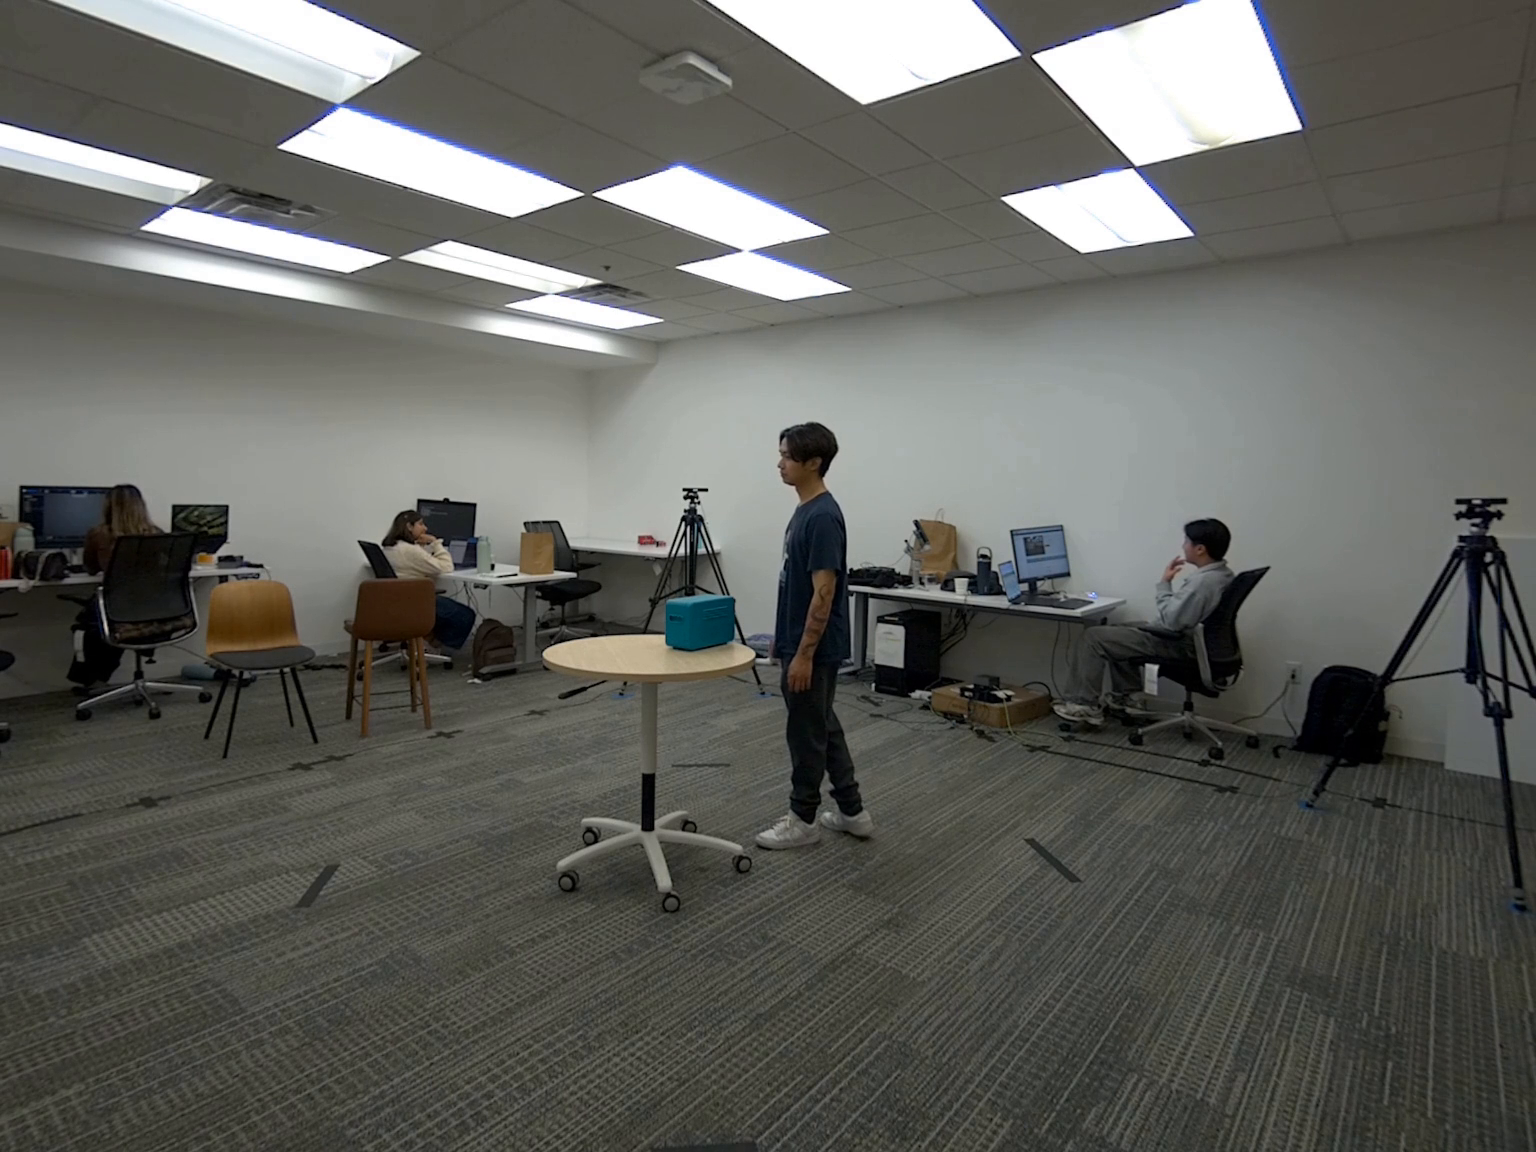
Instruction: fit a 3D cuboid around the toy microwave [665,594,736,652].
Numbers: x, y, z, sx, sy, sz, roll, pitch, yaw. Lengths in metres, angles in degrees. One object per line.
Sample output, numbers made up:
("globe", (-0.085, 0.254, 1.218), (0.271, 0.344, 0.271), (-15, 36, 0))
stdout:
("toy microwave", (-0.275, 0.170, 3.240), (0.157, 0.183, 0.278), (4, 5, 35))
